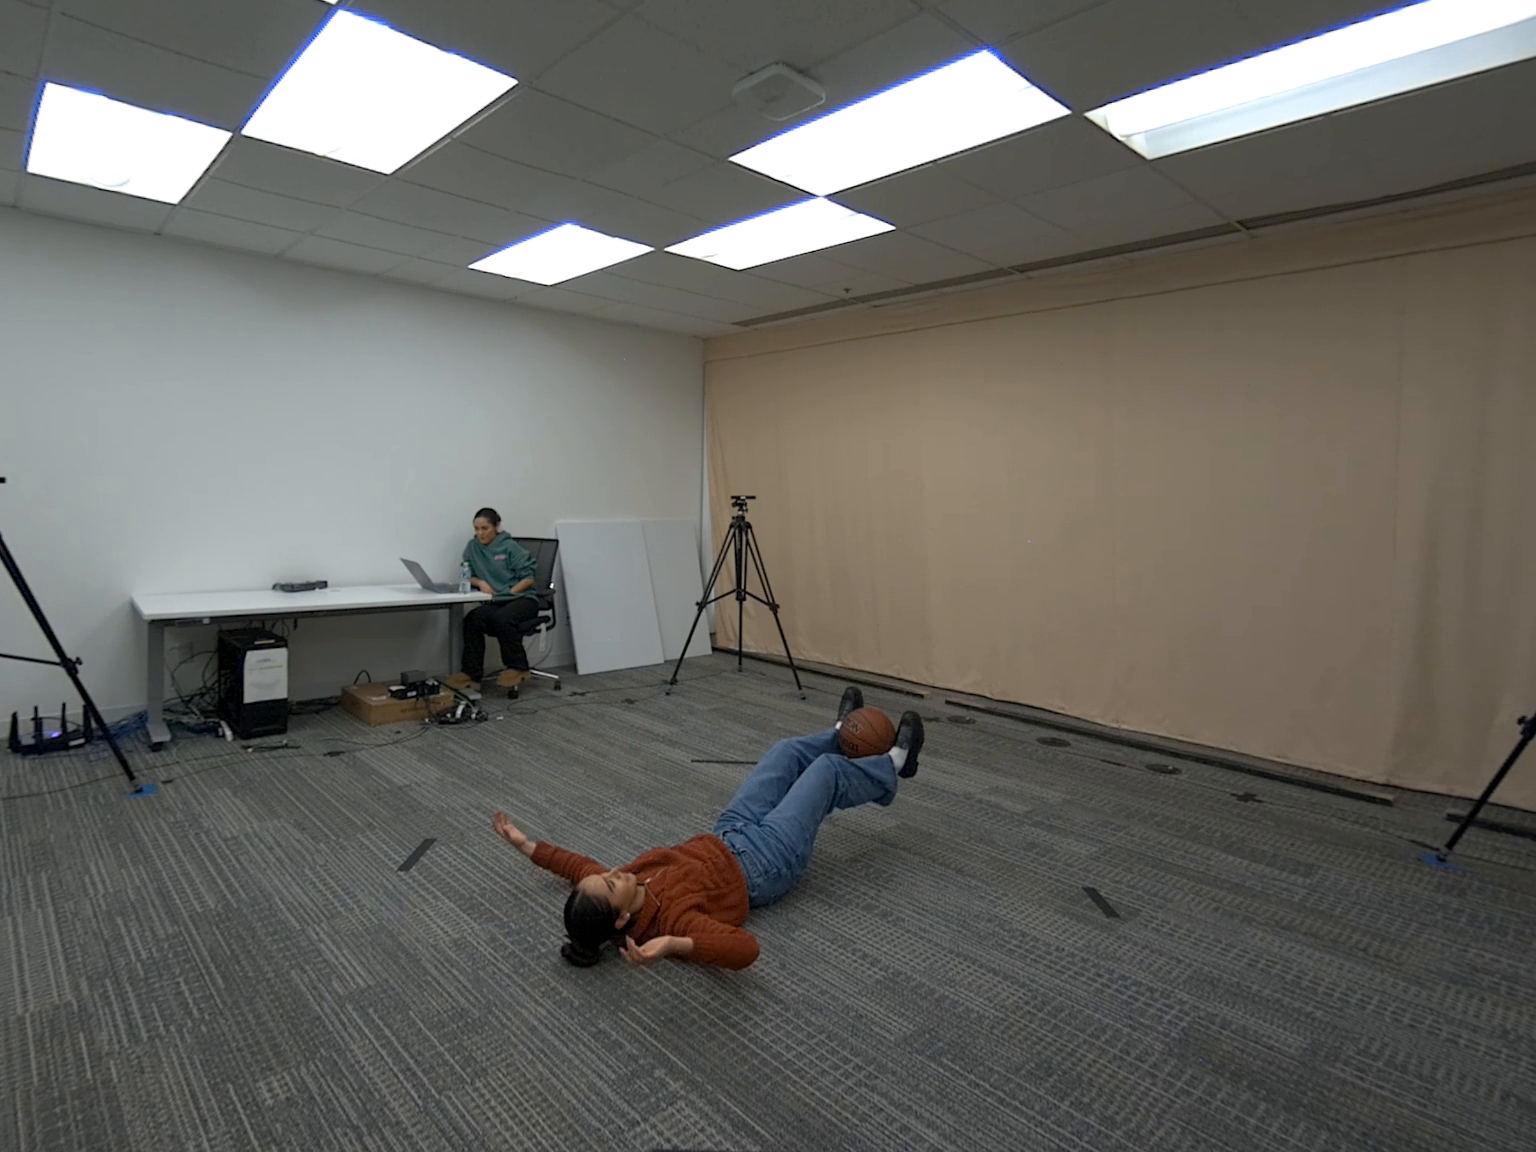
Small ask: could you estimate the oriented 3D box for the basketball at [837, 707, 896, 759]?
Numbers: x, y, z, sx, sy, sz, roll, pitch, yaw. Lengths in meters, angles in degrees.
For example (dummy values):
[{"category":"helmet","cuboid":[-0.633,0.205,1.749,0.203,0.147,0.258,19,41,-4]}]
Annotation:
[{"category":"basketball","cuboid":[0.396,0.665,3.464,0.236,0.234,0.237,0,8,-1]}]
